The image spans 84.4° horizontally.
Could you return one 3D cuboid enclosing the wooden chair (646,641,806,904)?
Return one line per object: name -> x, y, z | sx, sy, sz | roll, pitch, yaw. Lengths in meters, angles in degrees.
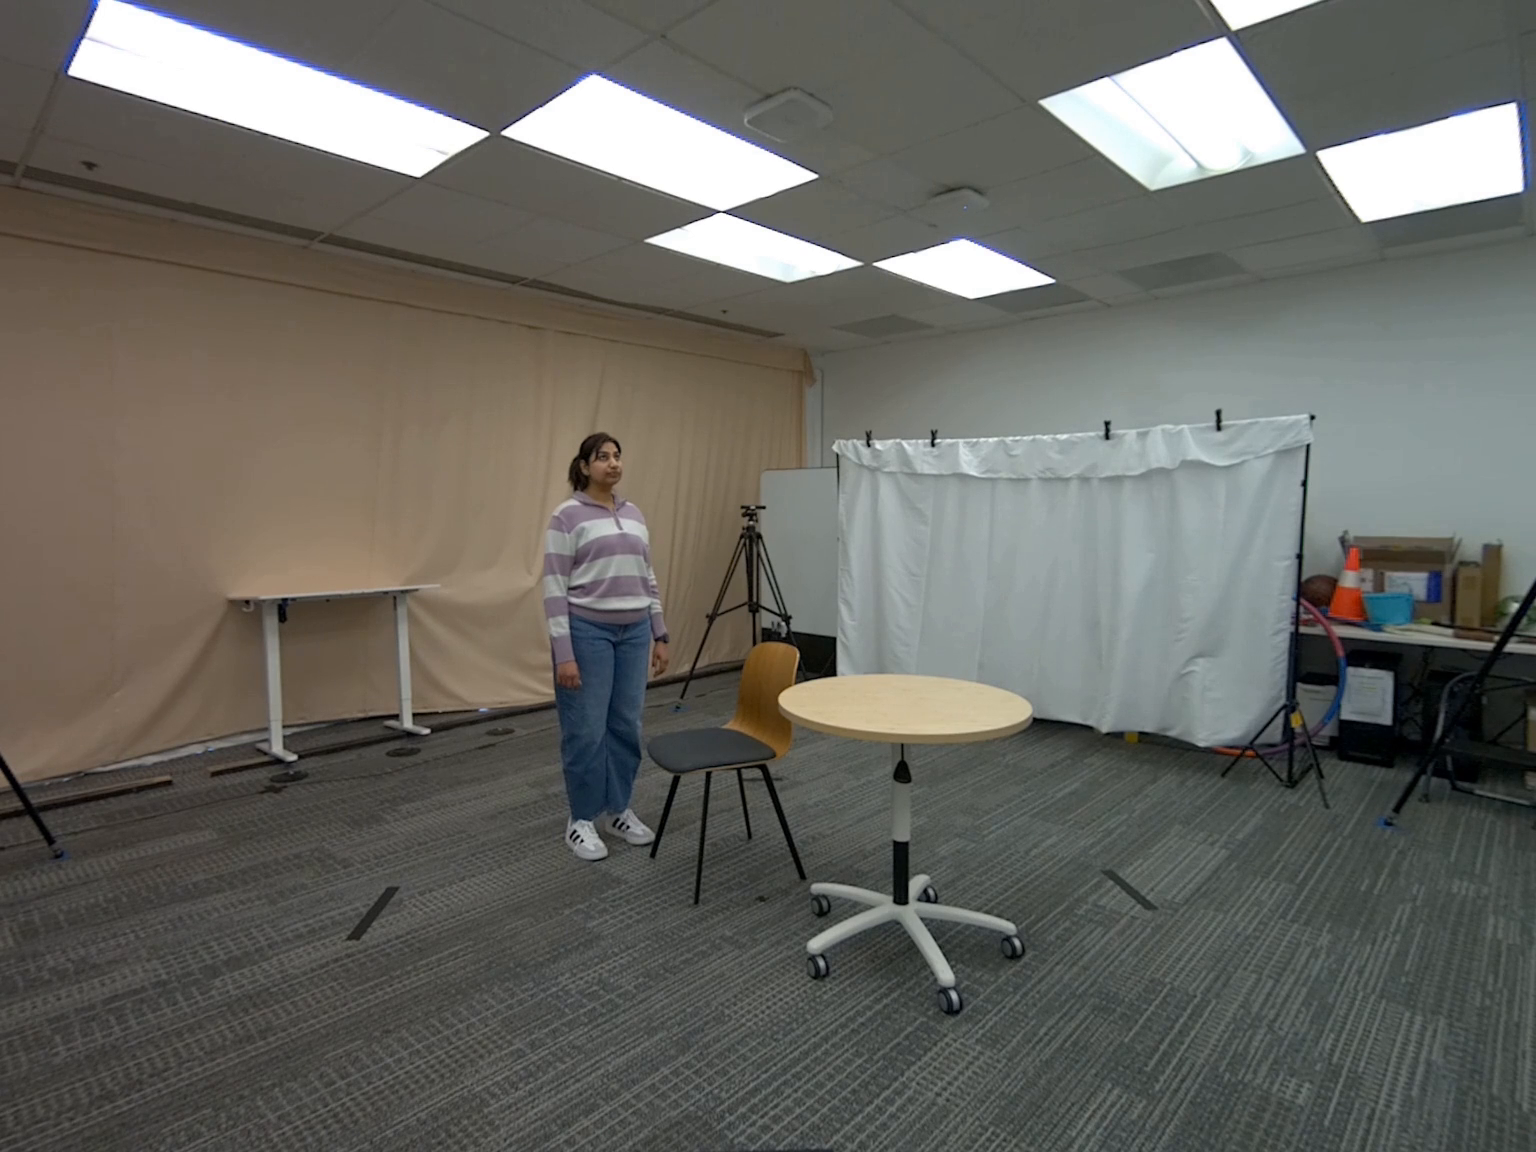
wooden chair -> -0.171, 0.700, 3.199 | 0.509, 0.876, 0.491 | 3, 2, -27
